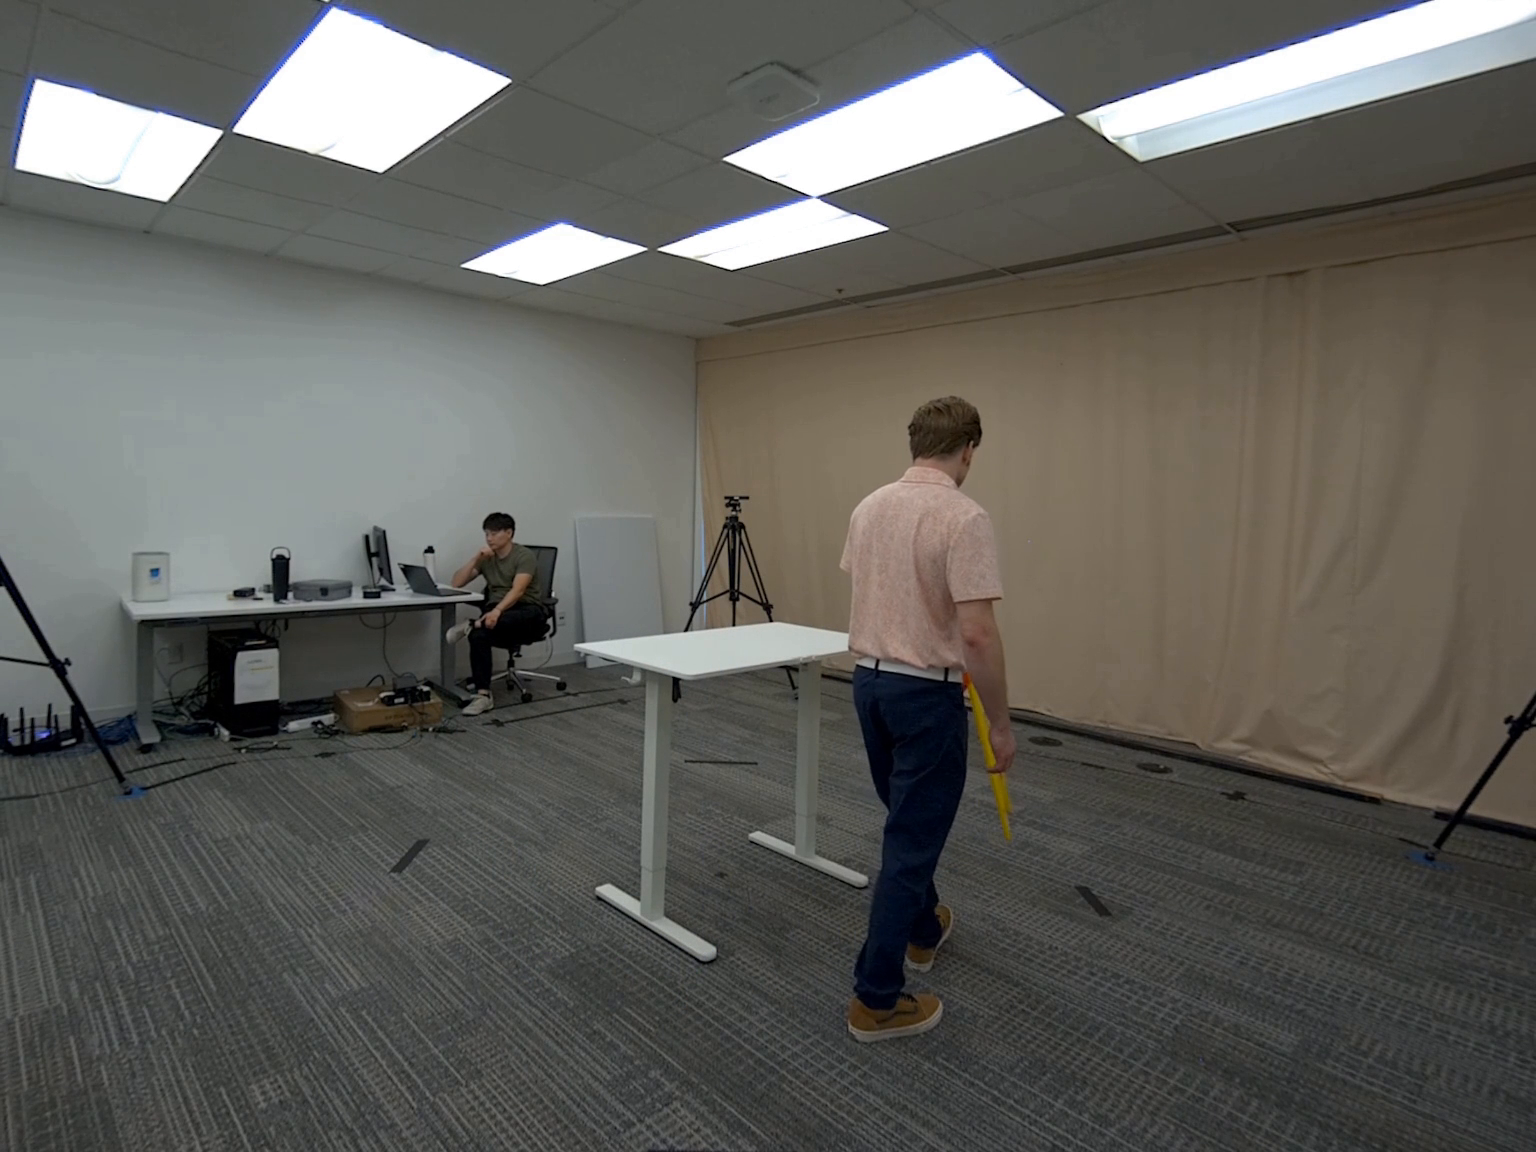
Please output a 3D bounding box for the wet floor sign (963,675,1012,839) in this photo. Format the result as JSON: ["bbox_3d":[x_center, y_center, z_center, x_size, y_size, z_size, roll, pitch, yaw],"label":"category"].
[{"bbox_3d":[0.623,0.472,2.677,0.293,0.643,0.280,-3,6,15],"label":"wet floor sign"}]
